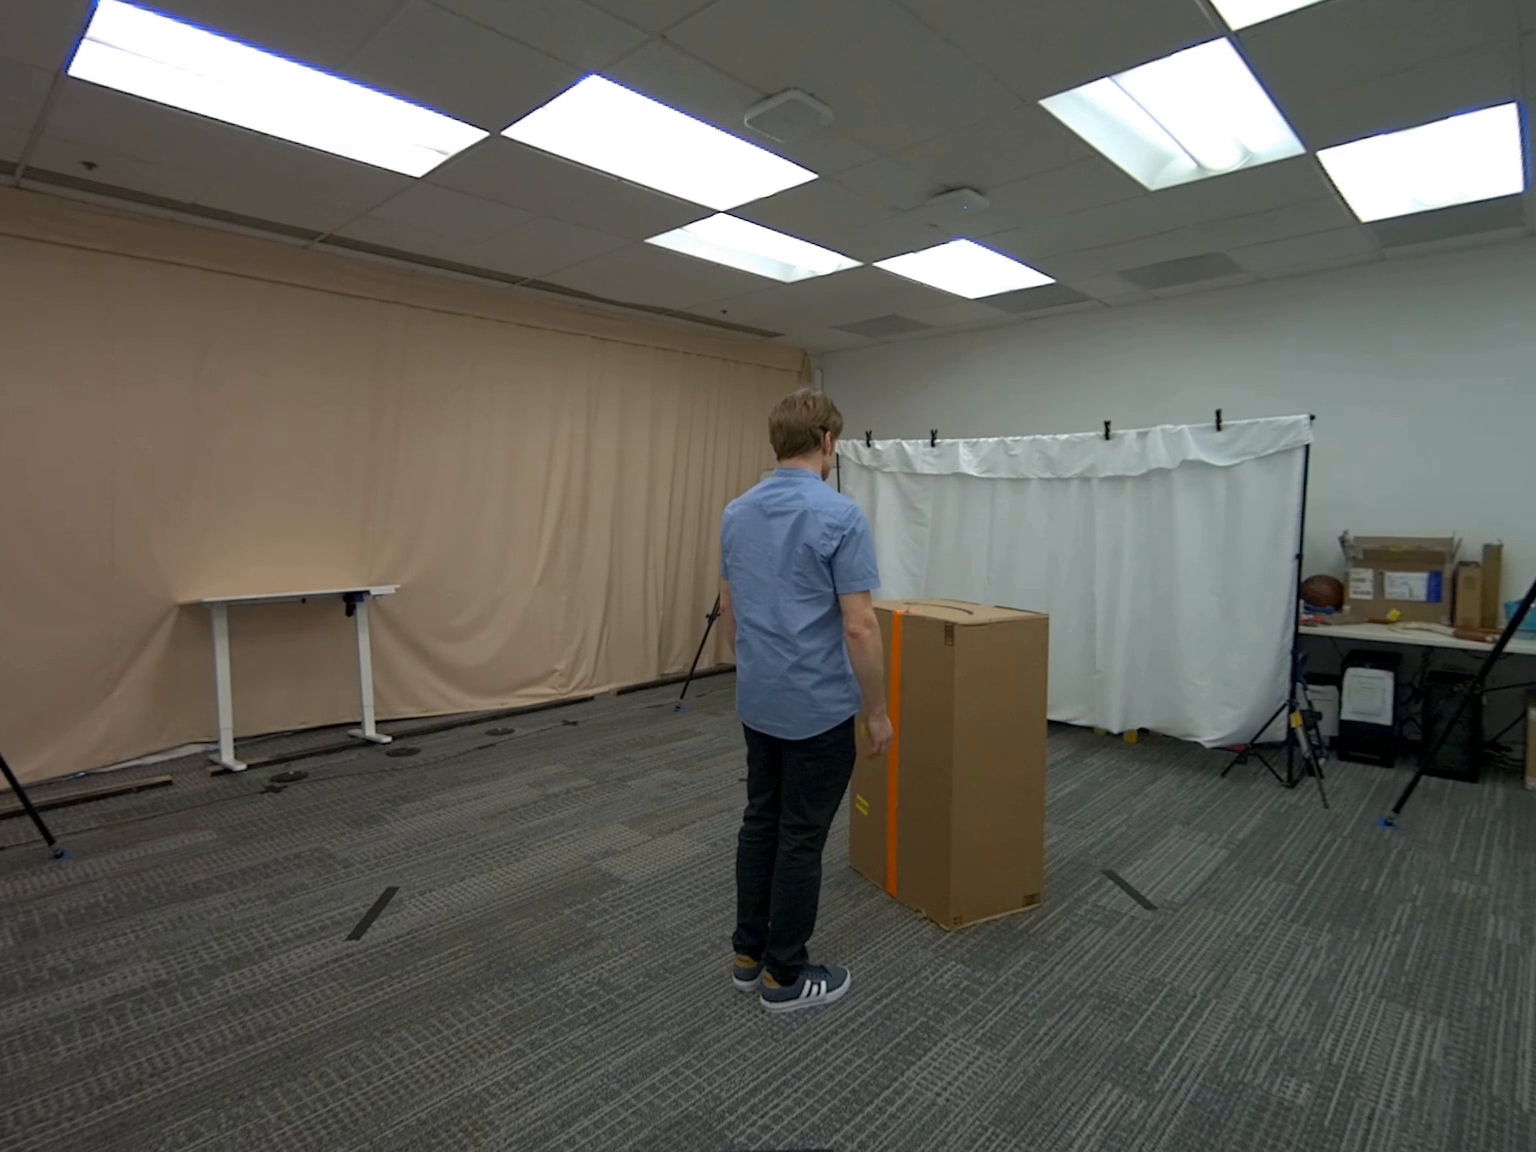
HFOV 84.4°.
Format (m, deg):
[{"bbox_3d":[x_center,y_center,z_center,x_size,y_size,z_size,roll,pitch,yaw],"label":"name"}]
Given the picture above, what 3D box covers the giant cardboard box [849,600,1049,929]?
[{"bbox_3d":[0.640,0.628,3.060,0.415,1.024,0.594,-1,4,-28],"label":"giant cardboard box"}]
